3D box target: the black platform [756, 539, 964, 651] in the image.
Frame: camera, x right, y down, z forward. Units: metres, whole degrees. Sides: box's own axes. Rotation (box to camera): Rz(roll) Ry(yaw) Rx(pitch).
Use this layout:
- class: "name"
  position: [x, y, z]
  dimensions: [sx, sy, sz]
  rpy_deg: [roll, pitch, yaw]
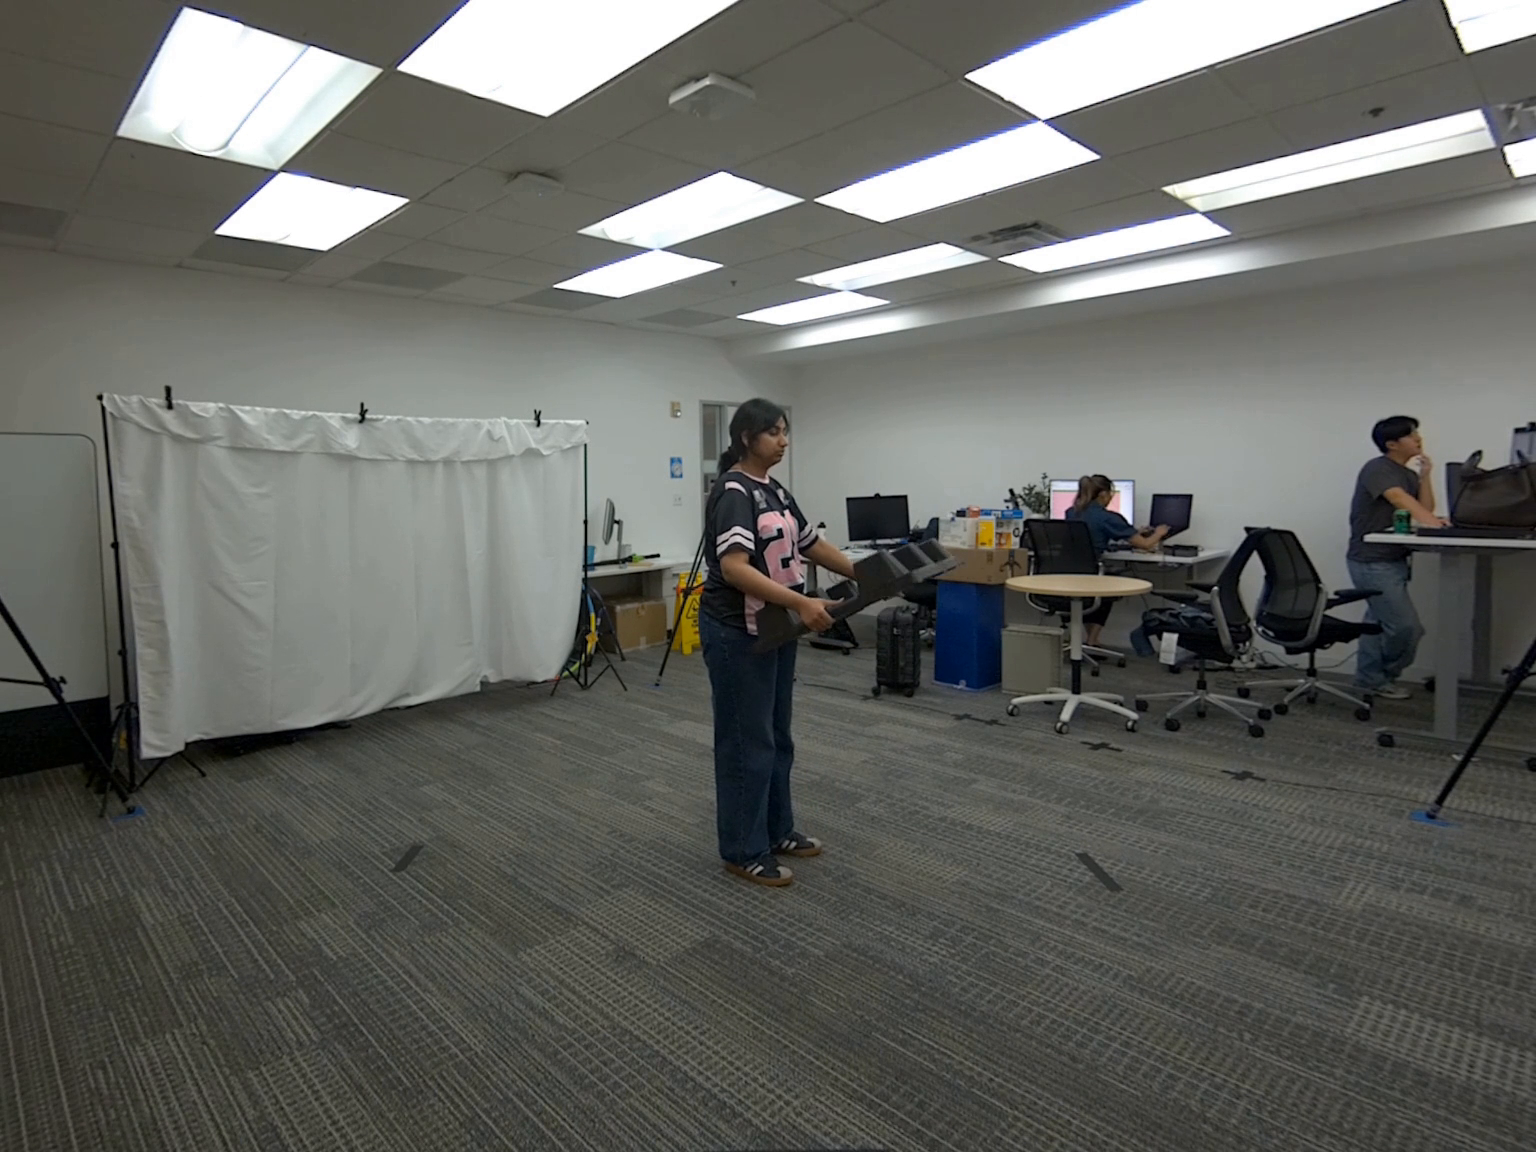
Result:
- class: "black platform"
  position: [0.321, 0.044, 2.975]
  dimensions: [0.611, 0.144, 0.791]
  rpy_deg: [-27, -5, 24]
